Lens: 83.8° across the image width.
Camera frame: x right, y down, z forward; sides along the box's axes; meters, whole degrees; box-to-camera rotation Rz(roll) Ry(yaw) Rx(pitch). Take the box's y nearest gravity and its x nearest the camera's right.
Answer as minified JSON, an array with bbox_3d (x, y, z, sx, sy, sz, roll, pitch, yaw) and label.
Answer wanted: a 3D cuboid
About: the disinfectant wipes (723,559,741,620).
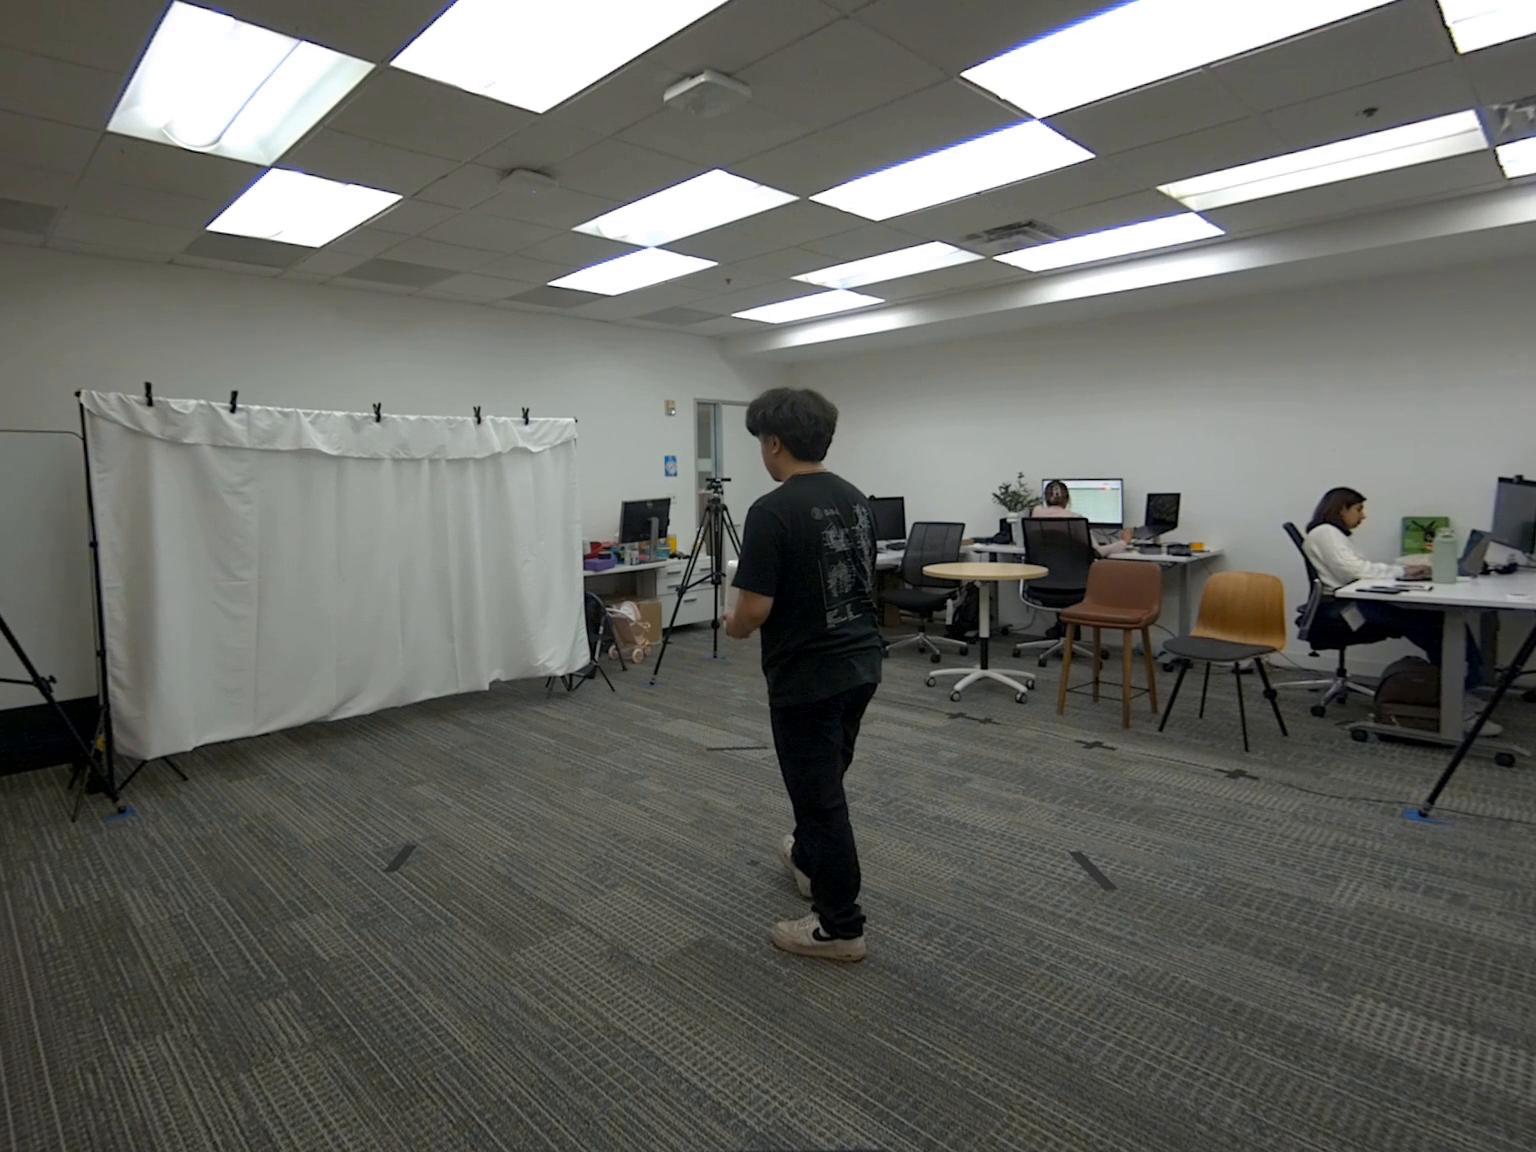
[{"bbox_3d":[-0.071,0.066,2.726,0.118,0.215,0.119,-1,10,-1],"label":"disinfectant wipes"}]
